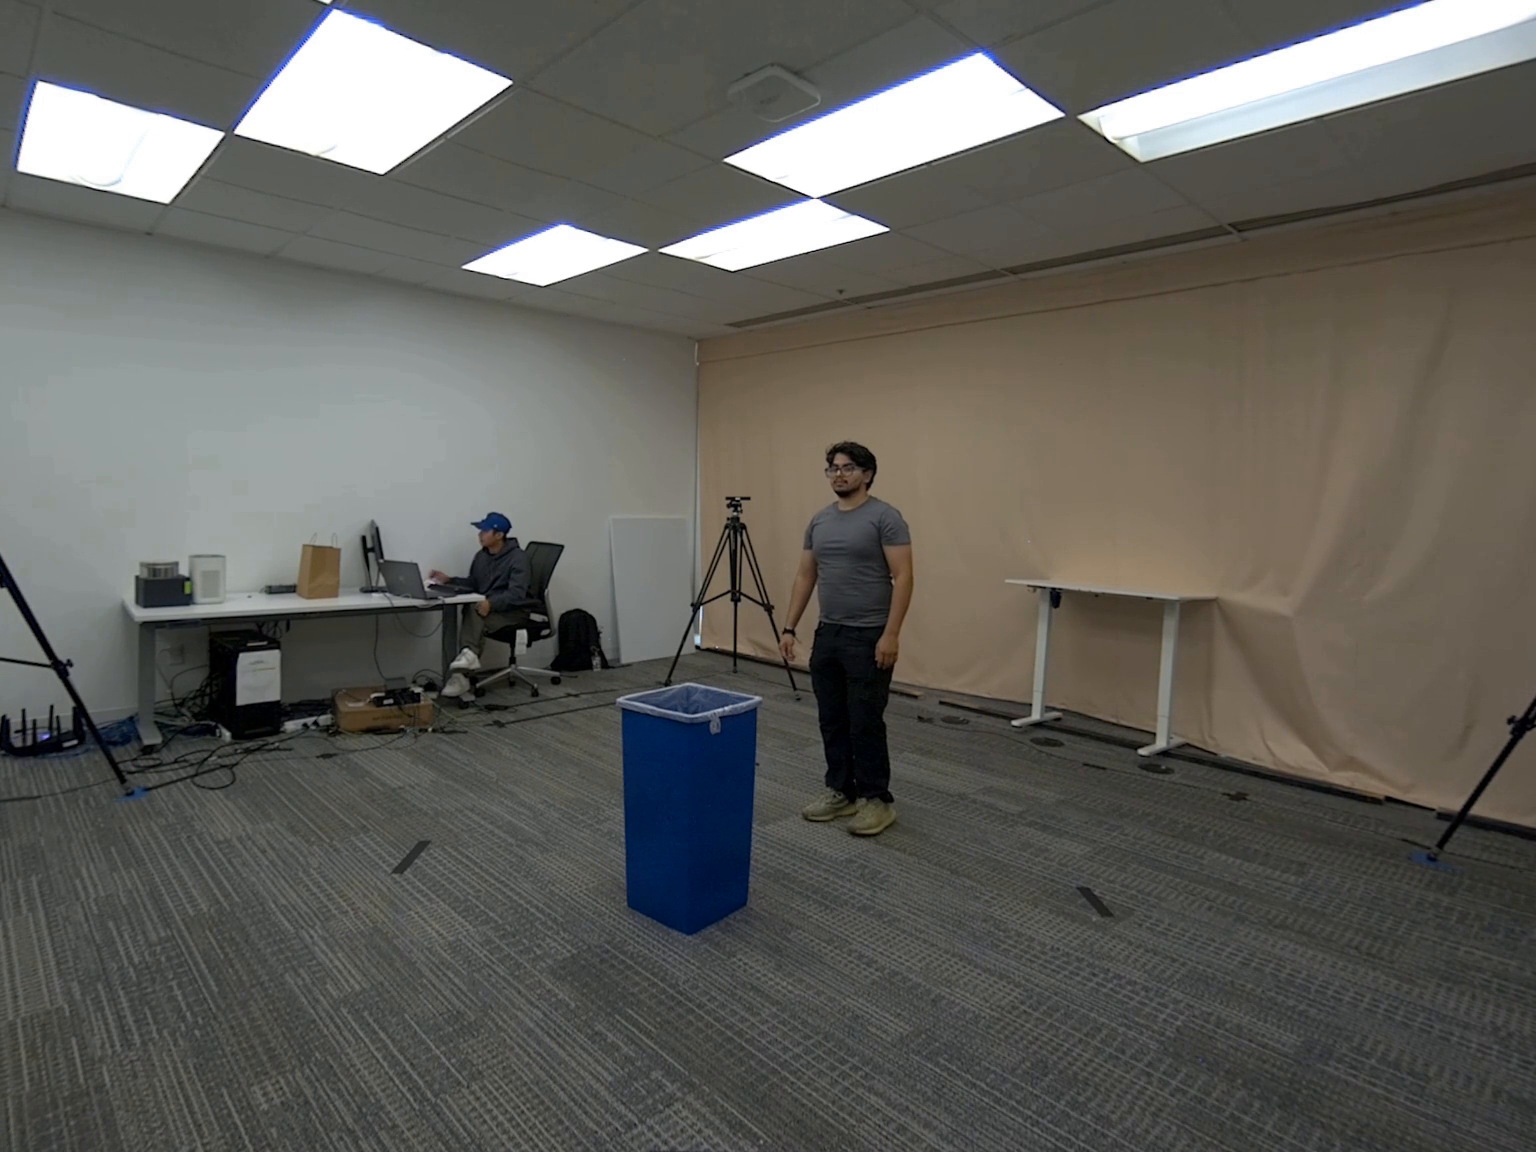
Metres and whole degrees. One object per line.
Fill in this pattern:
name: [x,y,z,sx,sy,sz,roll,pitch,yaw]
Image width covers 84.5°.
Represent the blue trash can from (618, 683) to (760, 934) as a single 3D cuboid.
blue trash can: [-0.282,0.768,2.861,0.383,0.712,0.369,4,4,39]
